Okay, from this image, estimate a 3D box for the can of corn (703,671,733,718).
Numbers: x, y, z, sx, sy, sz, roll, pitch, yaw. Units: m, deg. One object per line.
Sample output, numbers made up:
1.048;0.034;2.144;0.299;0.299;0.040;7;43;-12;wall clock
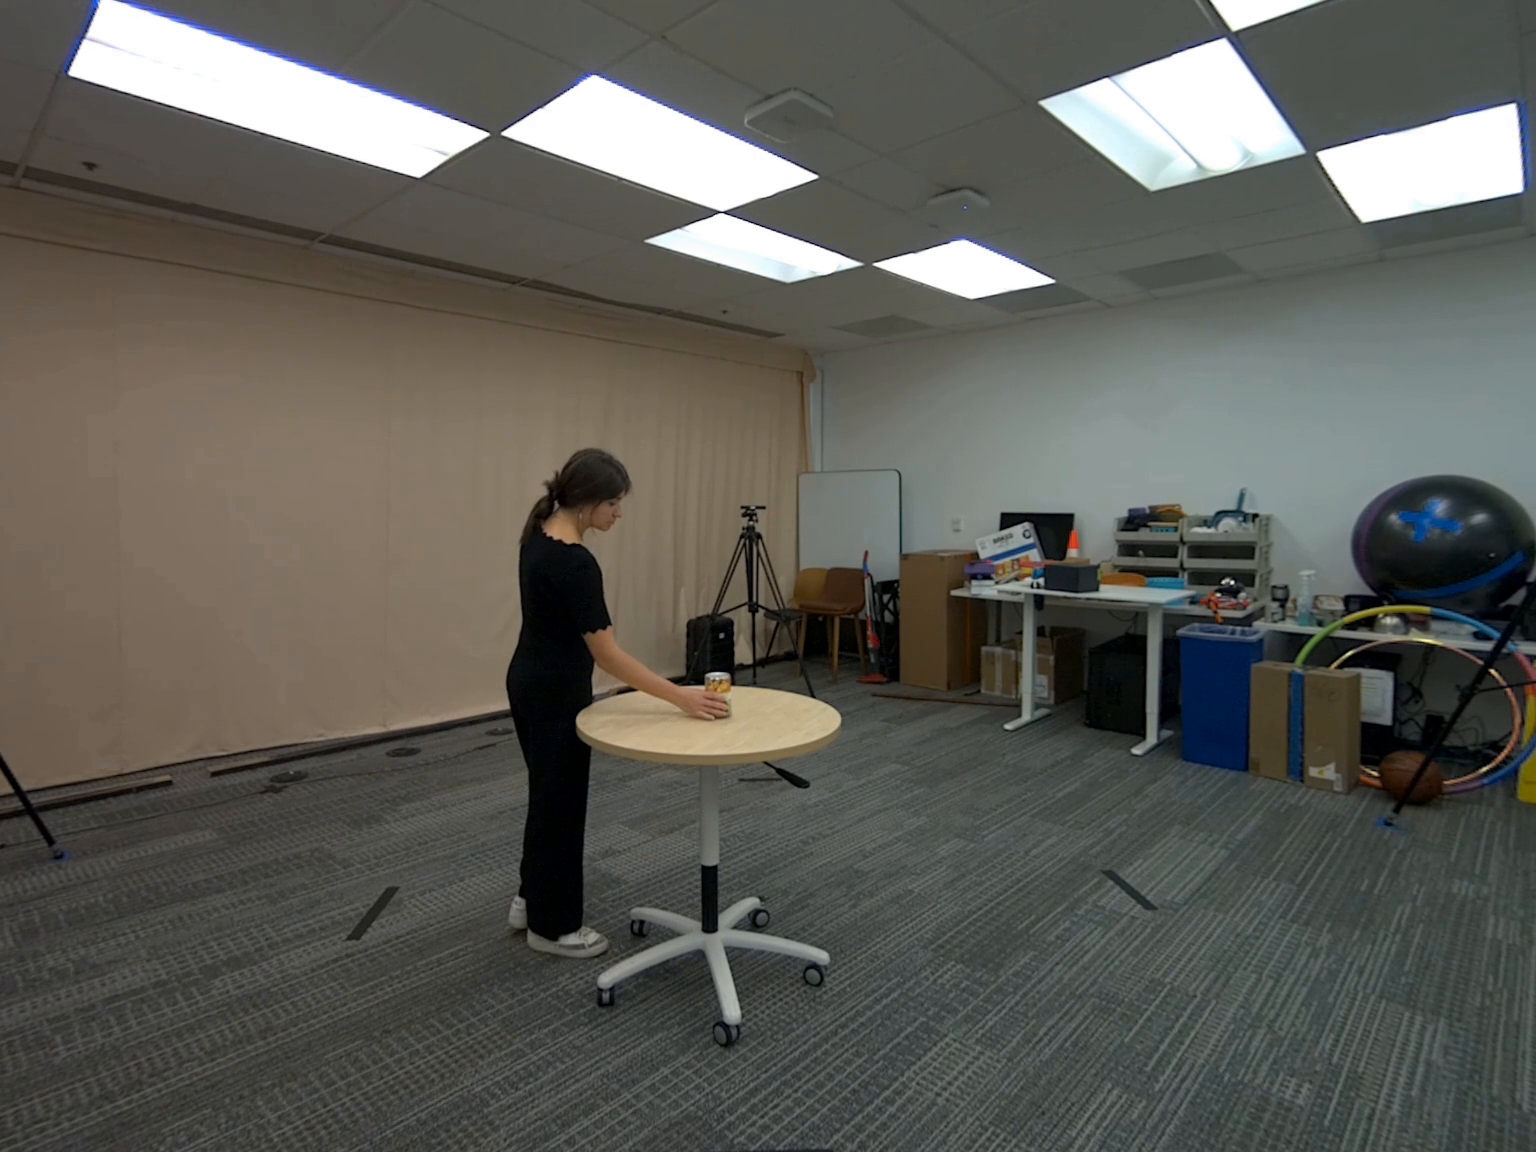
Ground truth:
-0.143;0.346;2.420;0.074;0.110;0.074;-5;7;-1;can of corn
